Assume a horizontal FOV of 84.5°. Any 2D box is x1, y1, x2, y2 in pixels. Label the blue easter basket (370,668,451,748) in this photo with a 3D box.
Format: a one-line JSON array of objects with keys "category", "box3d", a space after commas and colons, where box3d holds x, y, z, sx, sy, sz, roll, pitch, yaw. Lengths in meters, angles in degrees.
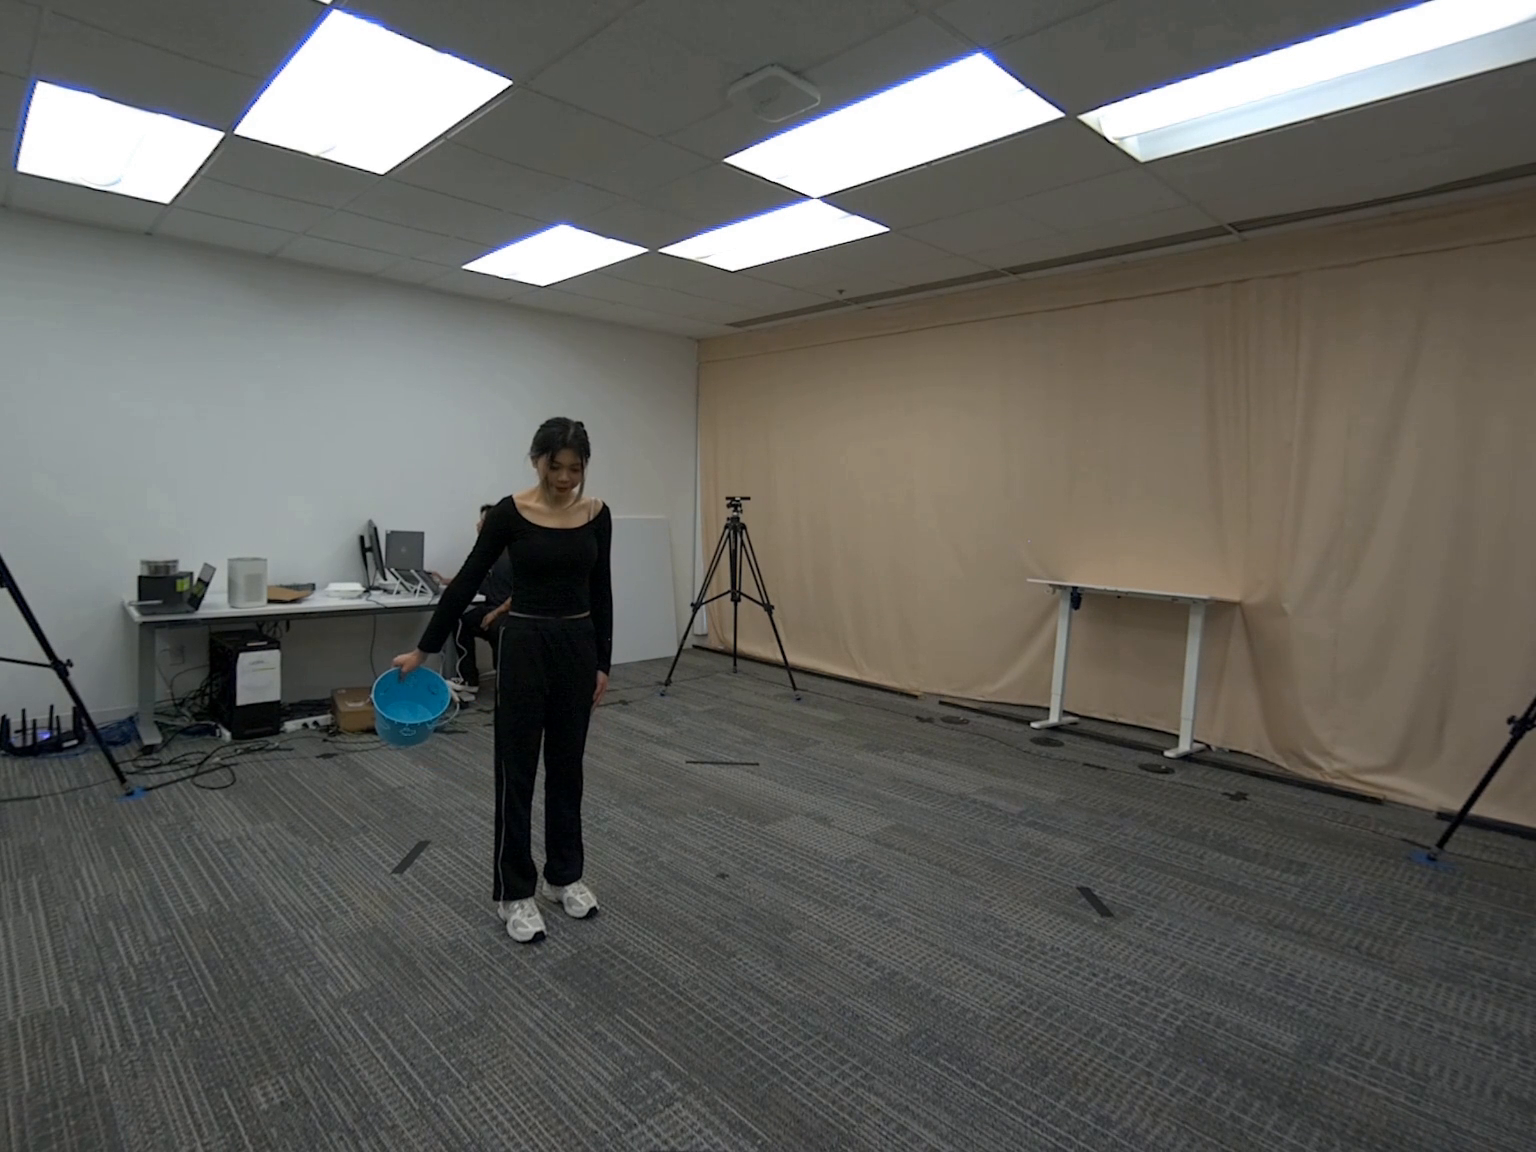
[{"category": "blue easter basket", "box3d": [-1.135, 0.429, 2.679, 0.240, 0.154, 0.249, 15, 37, -13]}]
